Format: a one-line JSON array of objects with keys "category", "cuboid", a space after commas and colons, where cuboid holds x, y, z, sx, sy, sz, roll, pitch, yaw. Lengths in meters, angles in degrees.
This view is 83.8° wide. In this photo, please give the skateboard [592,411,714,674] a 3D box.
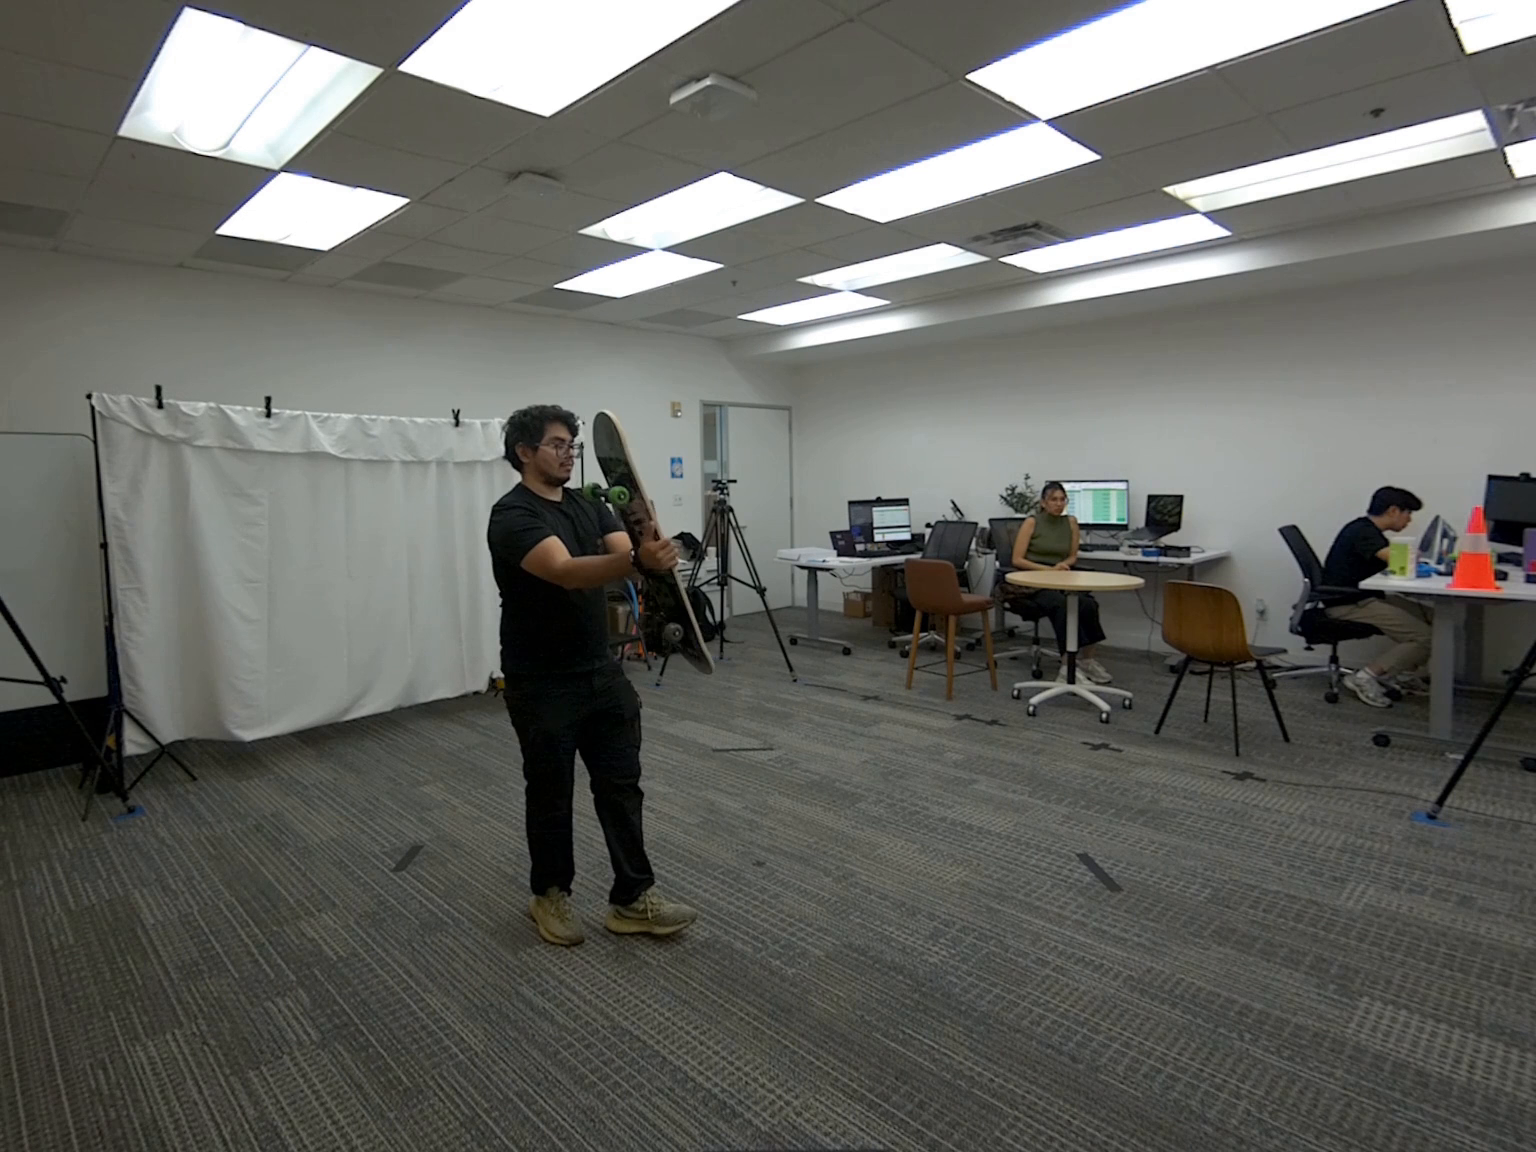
[{"category": "skateboard", "cuboid": [-0.328, -0.049, 2.270, 0.109, 0.769, 0.199, -30, 21, -28]}]
